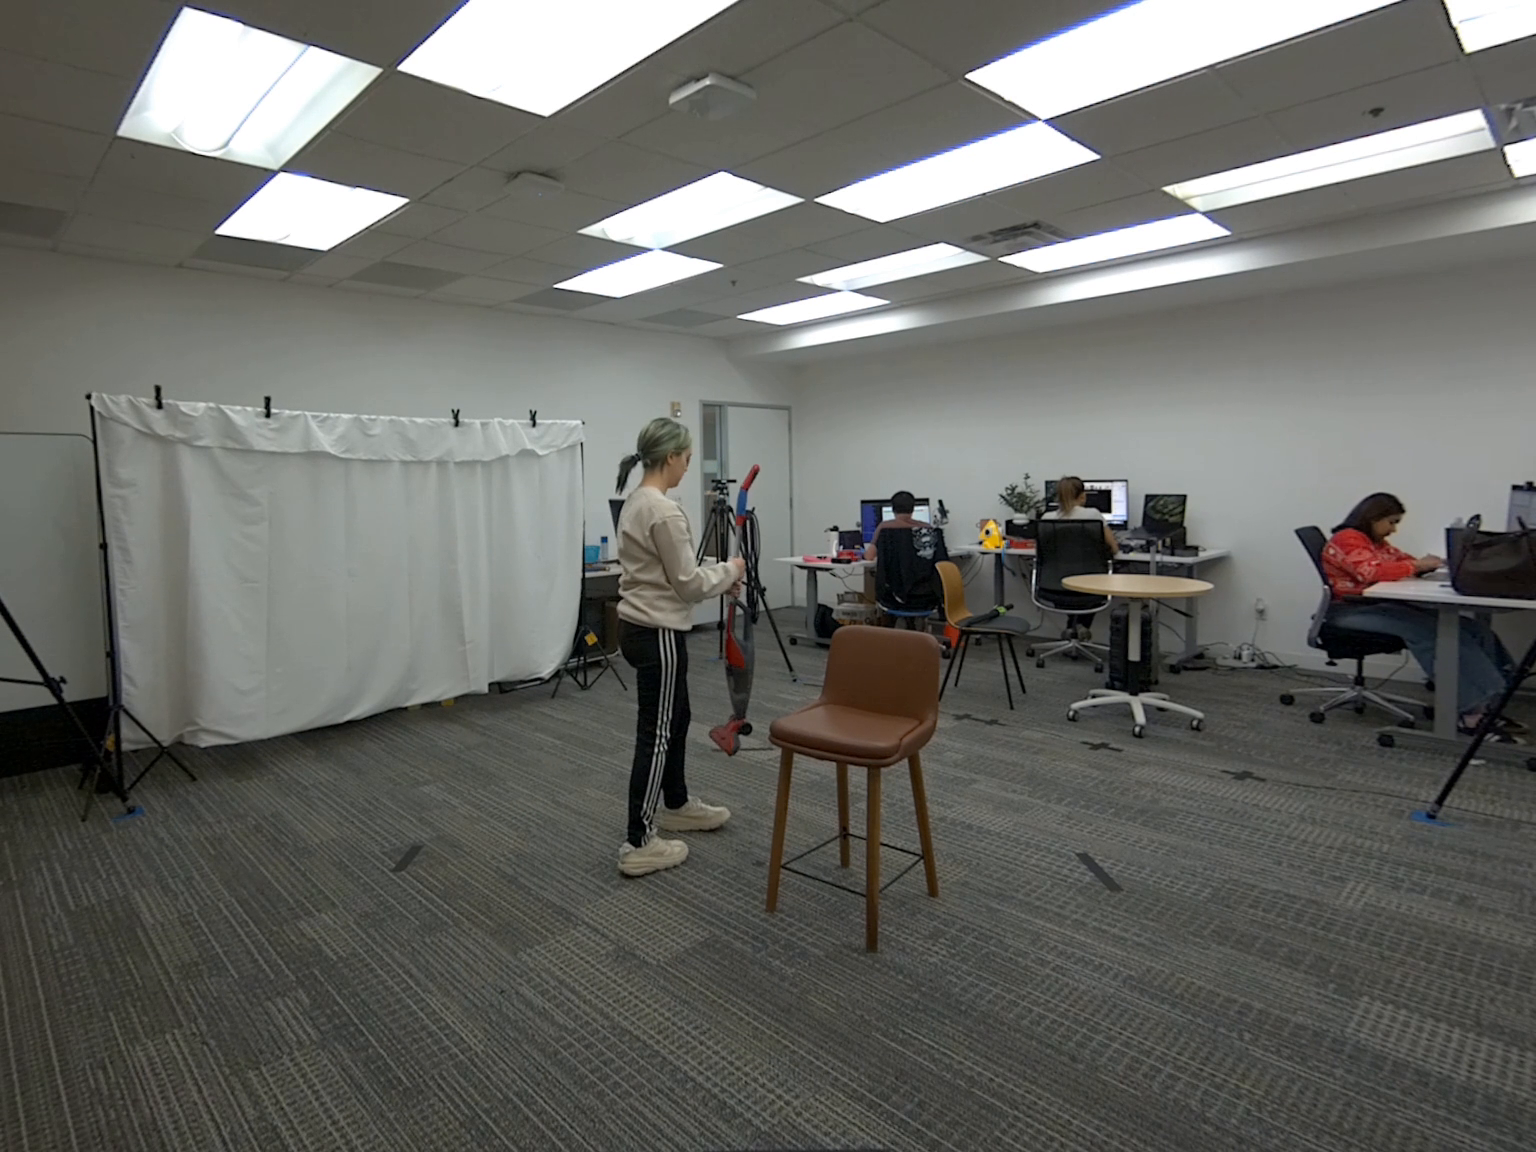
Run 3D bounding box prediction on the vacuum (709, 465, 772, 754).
[{"bbox_3d":[-0.101,0.101,3.326,0.140,1.049,0.259,5,0,-28],"label":"vacuum"}]
